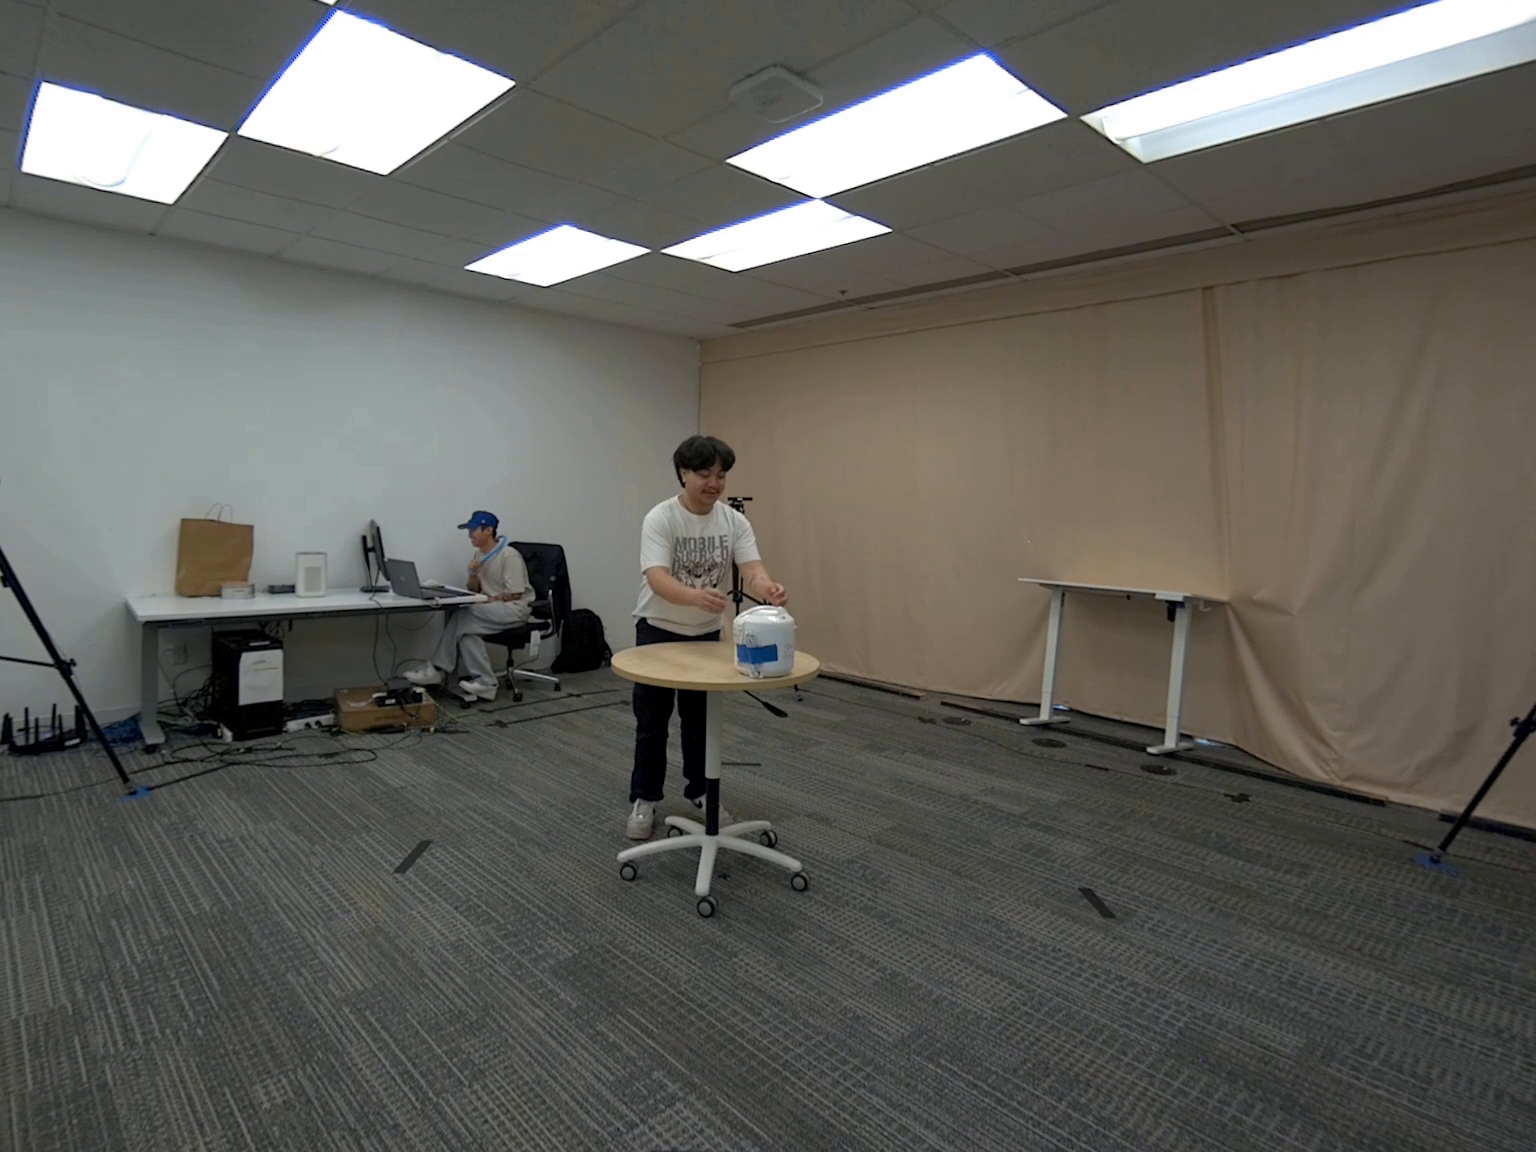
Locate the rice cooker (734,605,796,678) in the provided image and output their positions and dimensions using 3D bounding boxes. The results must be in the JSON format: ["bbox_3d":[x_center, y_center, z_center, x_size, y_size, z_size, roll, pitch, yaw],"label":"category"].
[{"bbox_3d":[-0.023,0.217,2.890,0.216,0.232,0.222,0,5,-25],"label":"rice cooker"}]
